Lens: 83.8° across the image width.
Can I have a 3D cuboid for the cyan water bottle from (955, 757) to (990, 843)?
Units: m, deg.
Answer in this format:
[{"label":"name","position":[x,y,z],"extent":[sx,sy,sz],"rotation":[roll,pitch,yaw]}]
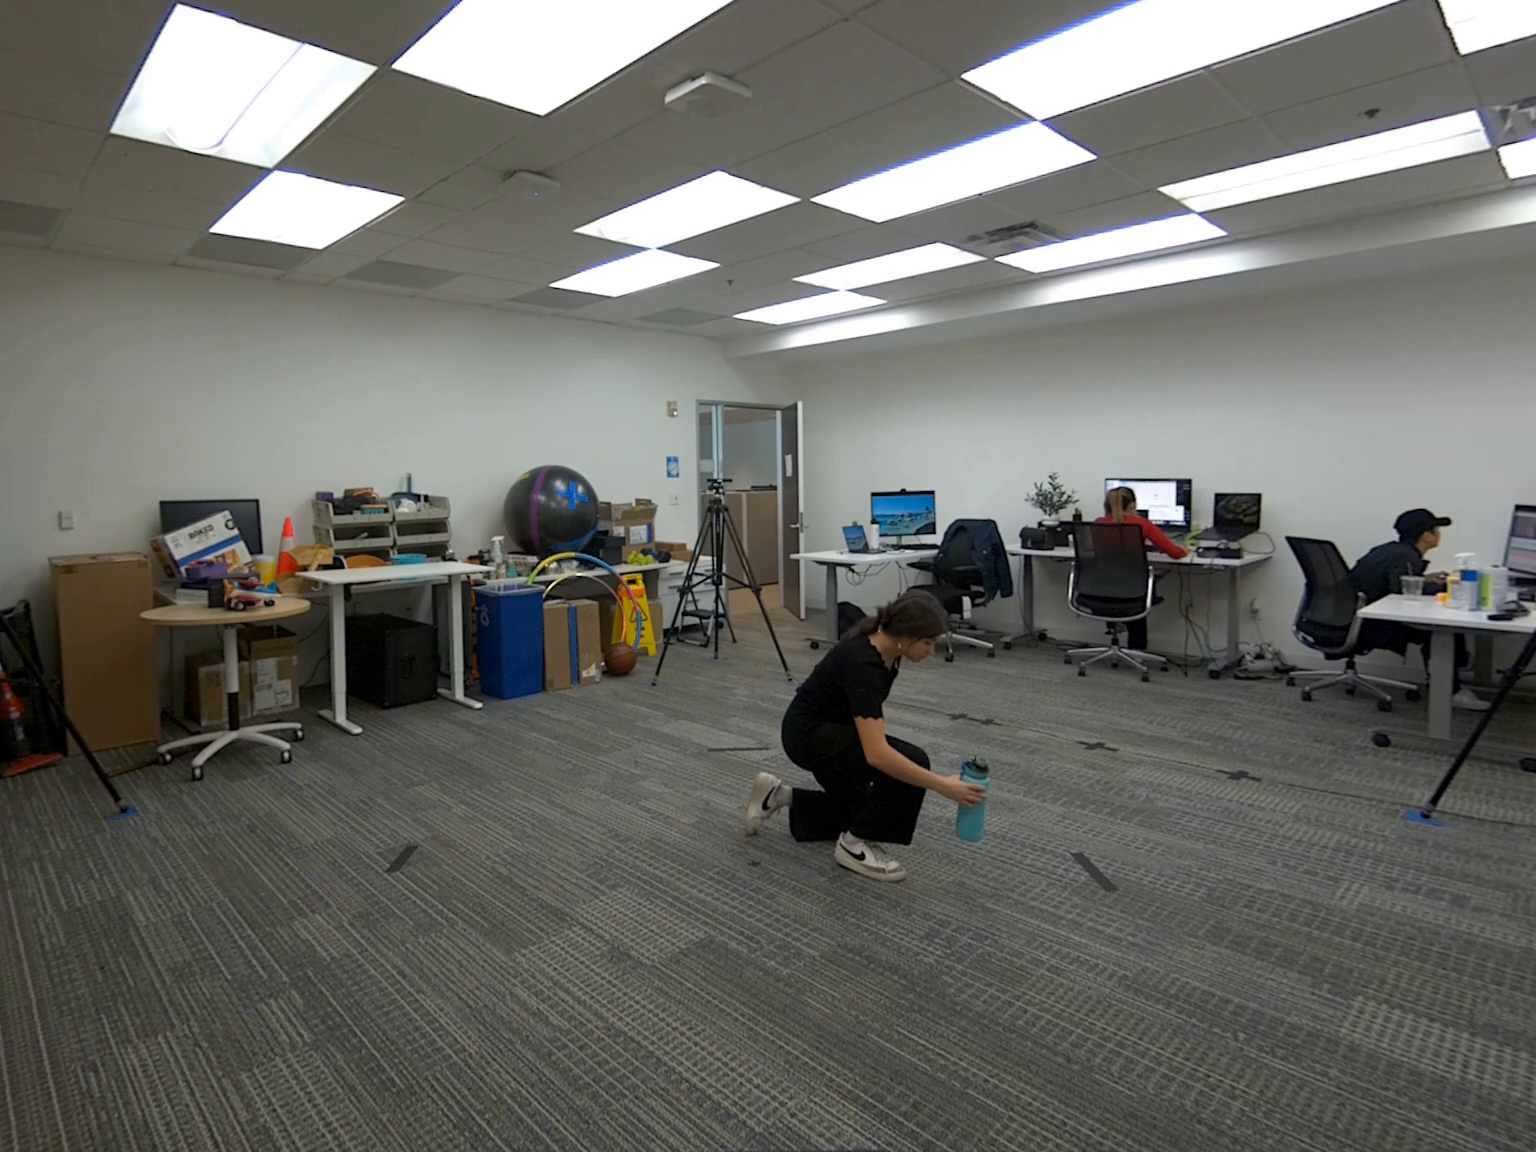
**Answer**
[{"label":"cyan water bottle","position":[0.681,0.733,2.862],"extent":[0.092,0.281,0.093],"rotation":[2,11,-2]}]
